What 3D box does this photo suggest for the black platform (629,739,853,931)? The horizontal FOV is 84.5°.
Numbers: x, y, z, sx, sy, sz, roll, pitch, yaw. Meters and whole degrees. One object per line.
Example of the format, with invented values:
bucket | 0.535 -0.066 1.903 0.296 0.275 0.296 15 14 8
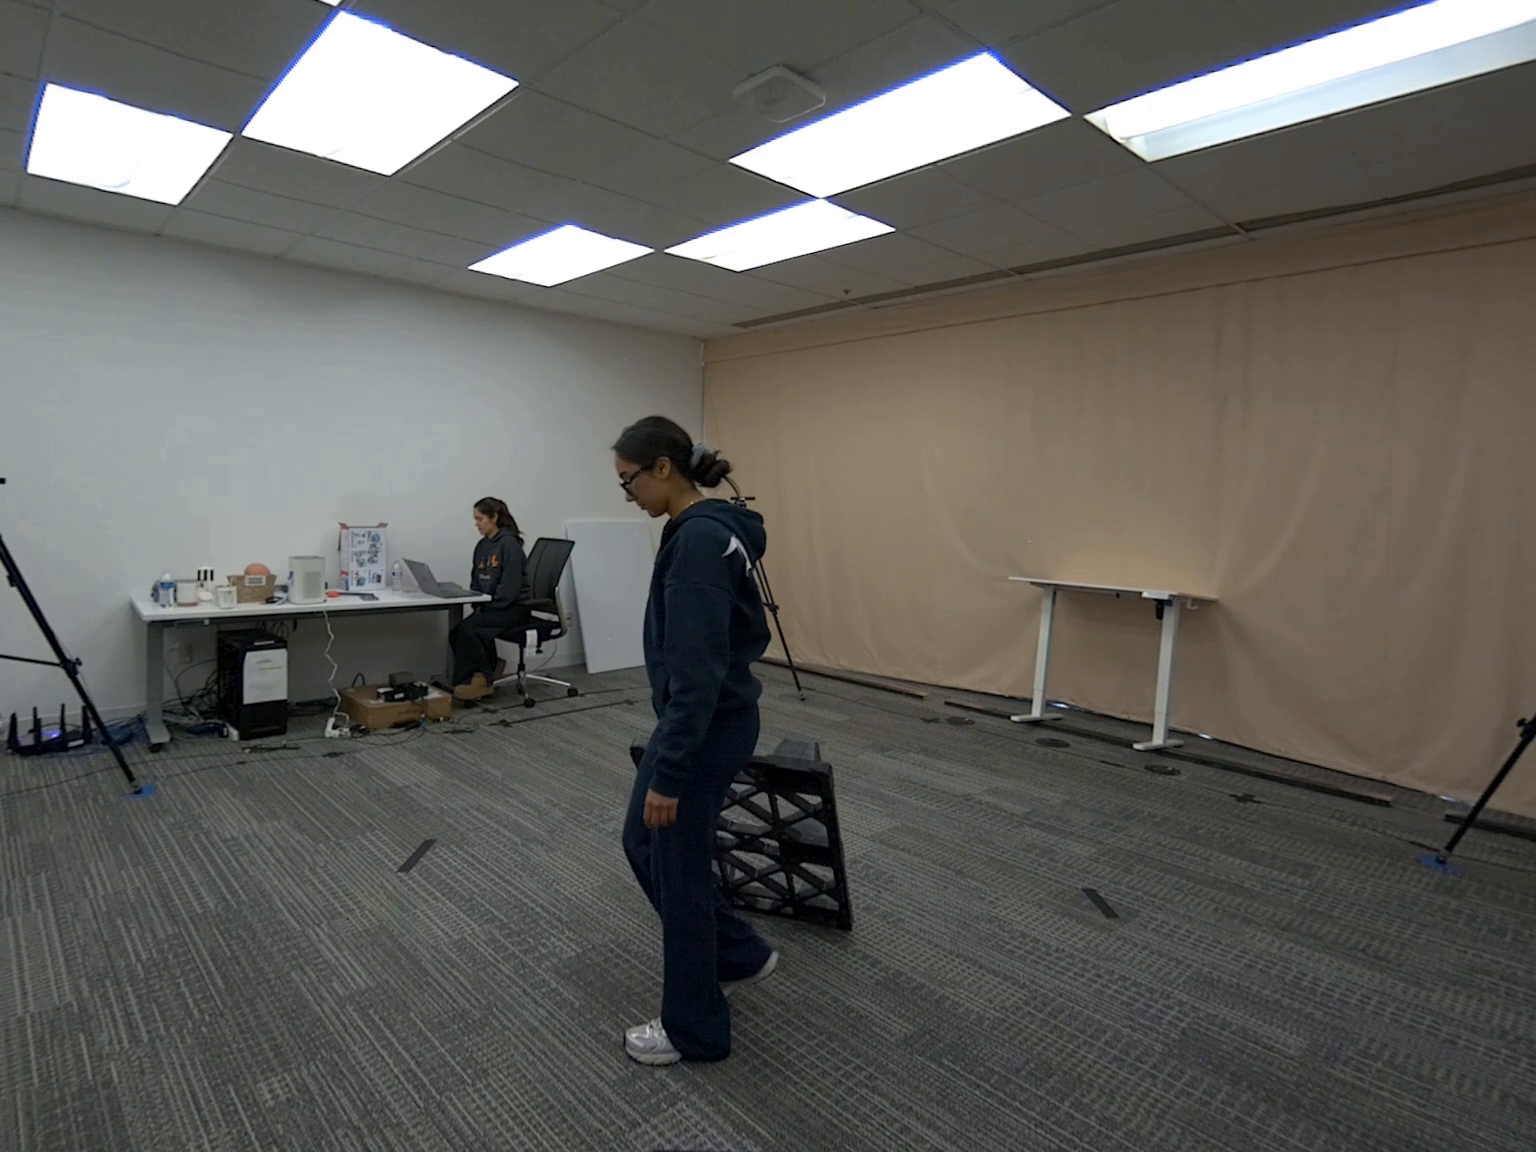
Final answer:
black platform | -0.057 0.786 2.641 0.614 0.786 0.145 4 38 18
